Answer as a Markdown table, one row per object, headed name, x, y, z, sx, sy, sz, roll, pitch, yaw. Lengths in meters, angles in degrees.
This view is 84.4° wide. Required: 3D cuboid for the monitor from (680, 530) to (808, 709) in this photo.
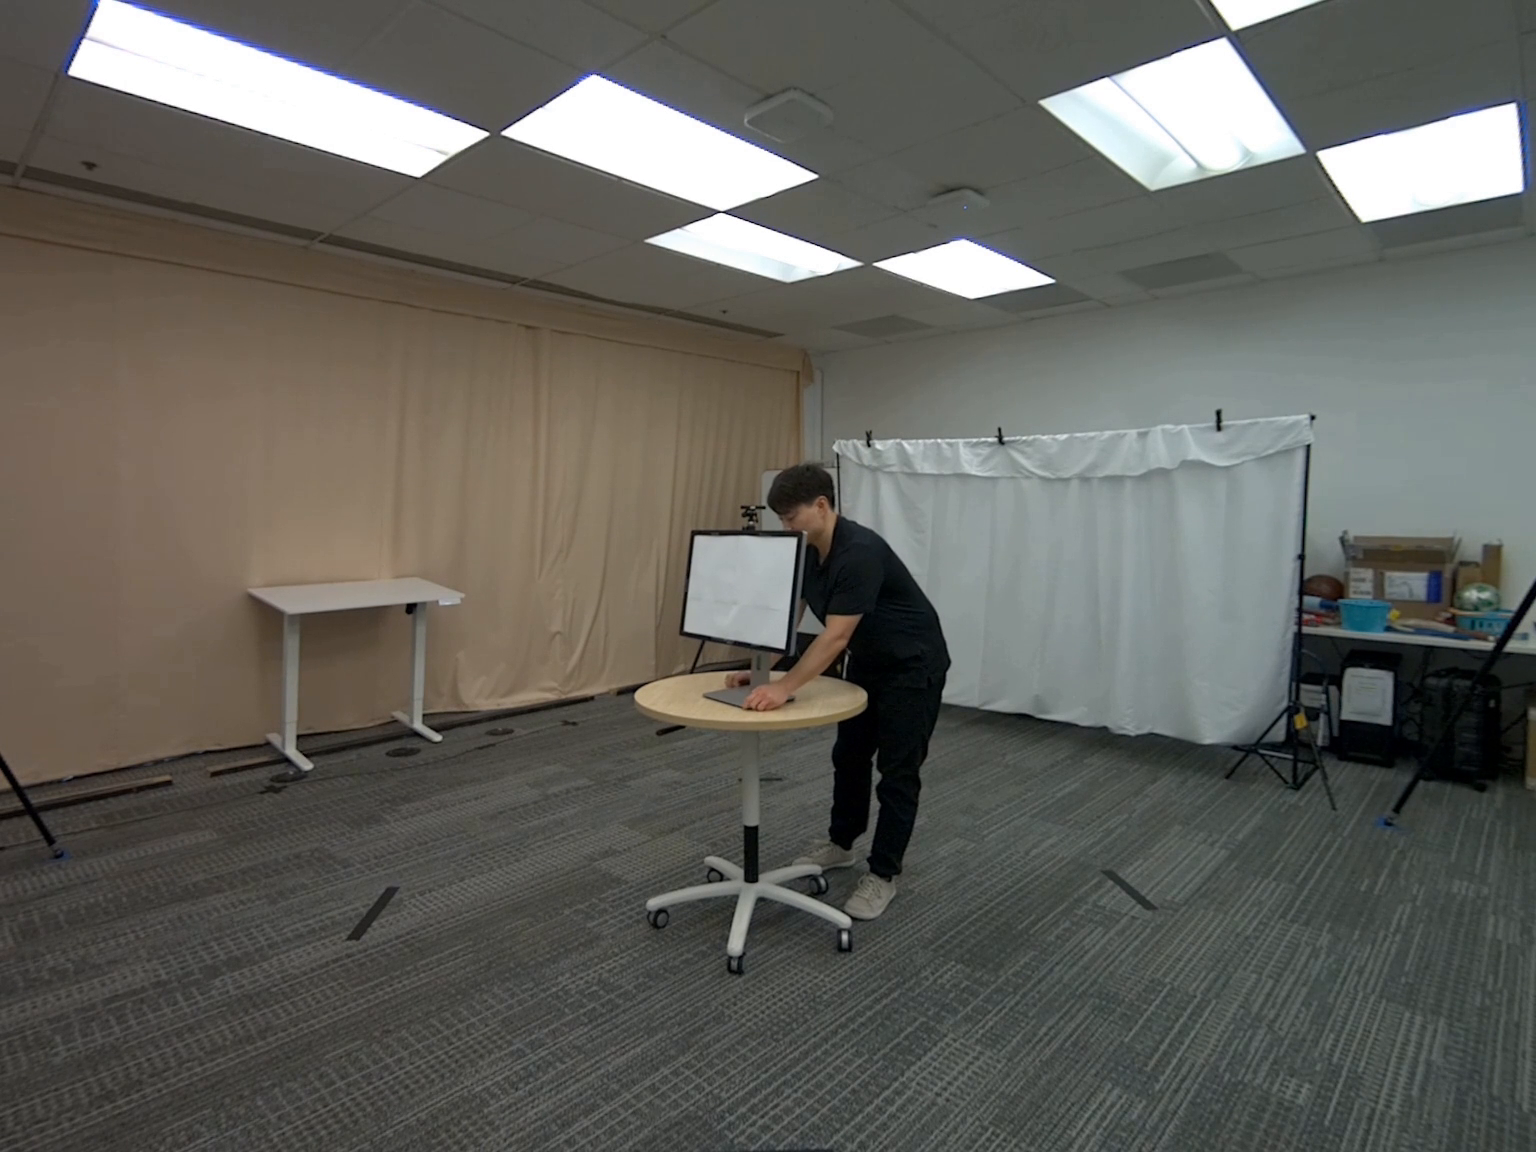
| name | x | y | z | sx | sy | sz | roll | pitch | yaw |
| --- | --- | --- | --- | --- | --- | --- | --- | --- | --- |
| monitor | -0.057 | 0.128 | 2.687 | 0.181 | 0.521 | 0.557 | -5 | 5 | -40 |
